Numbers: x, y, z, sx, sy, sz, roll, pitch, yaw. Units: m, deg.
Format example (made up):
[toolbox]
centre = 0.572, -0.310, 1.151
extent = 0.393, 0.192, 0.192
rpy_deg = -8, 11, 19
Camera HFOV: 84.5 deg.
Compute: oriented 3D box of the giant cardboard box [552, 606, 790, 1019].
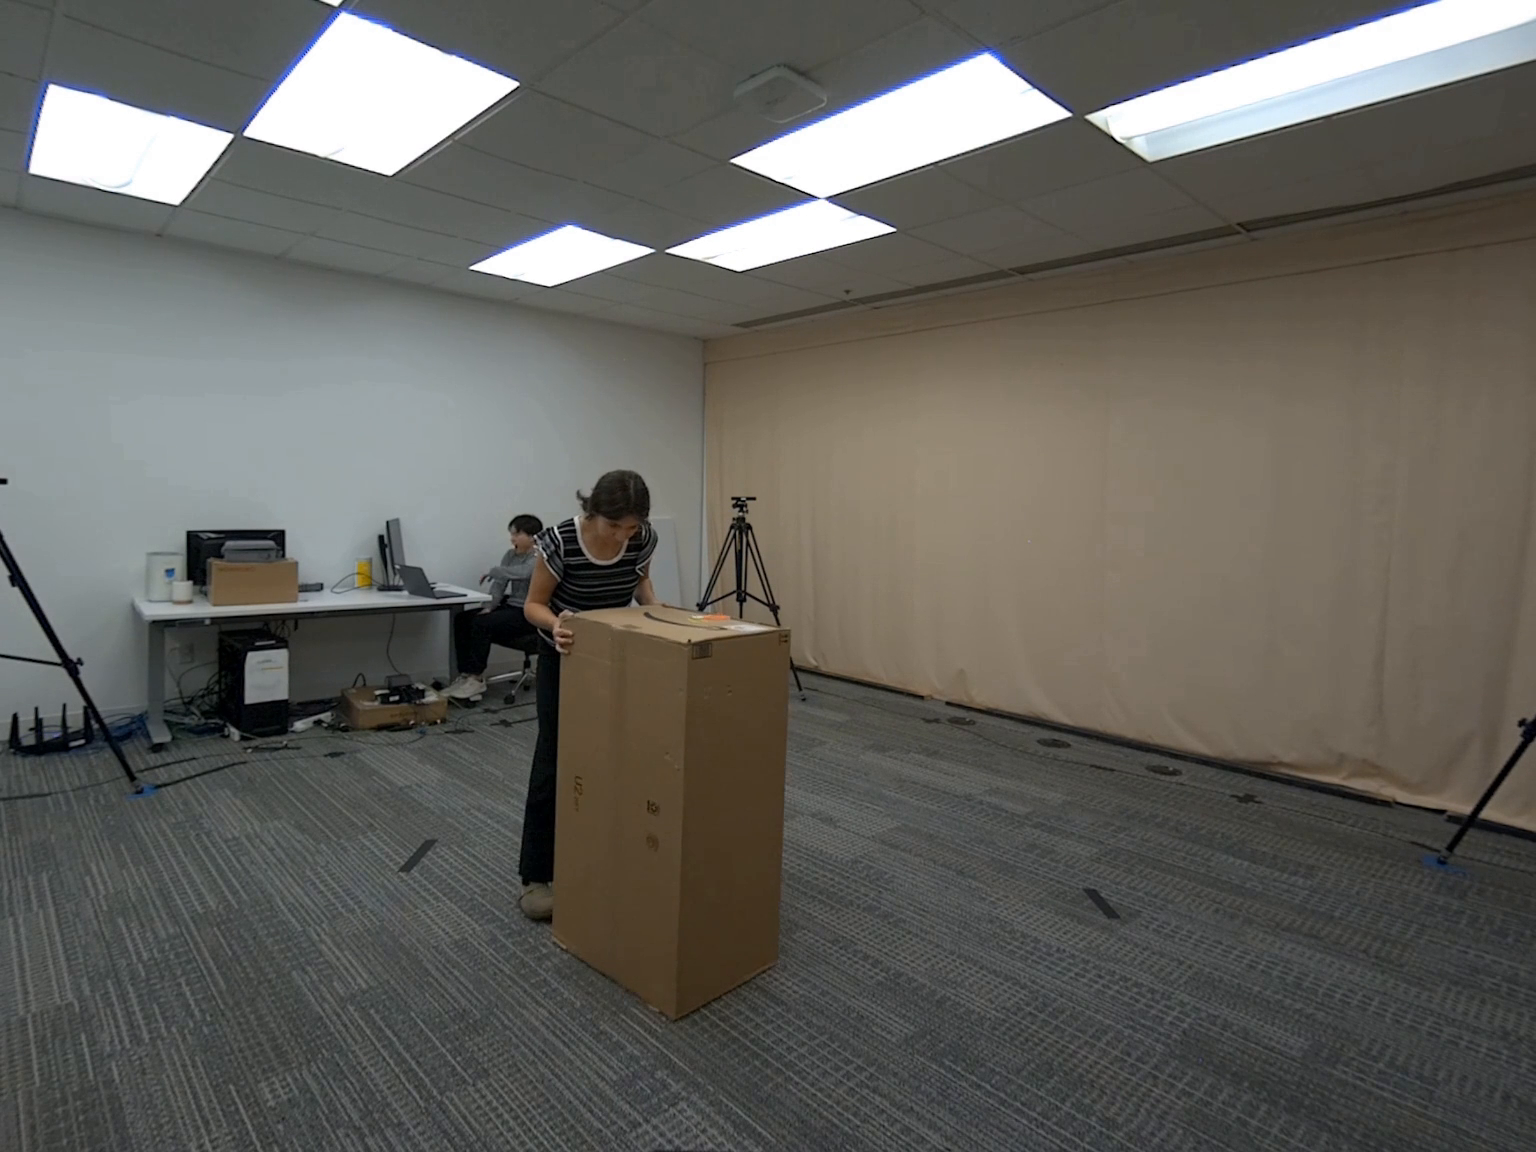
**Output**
[giant cardboard box]
centre = -0.302, 0.649, 2.547
extent = 0.592, 1.023, 0.416
rpy_deg = 5, 4, 43
